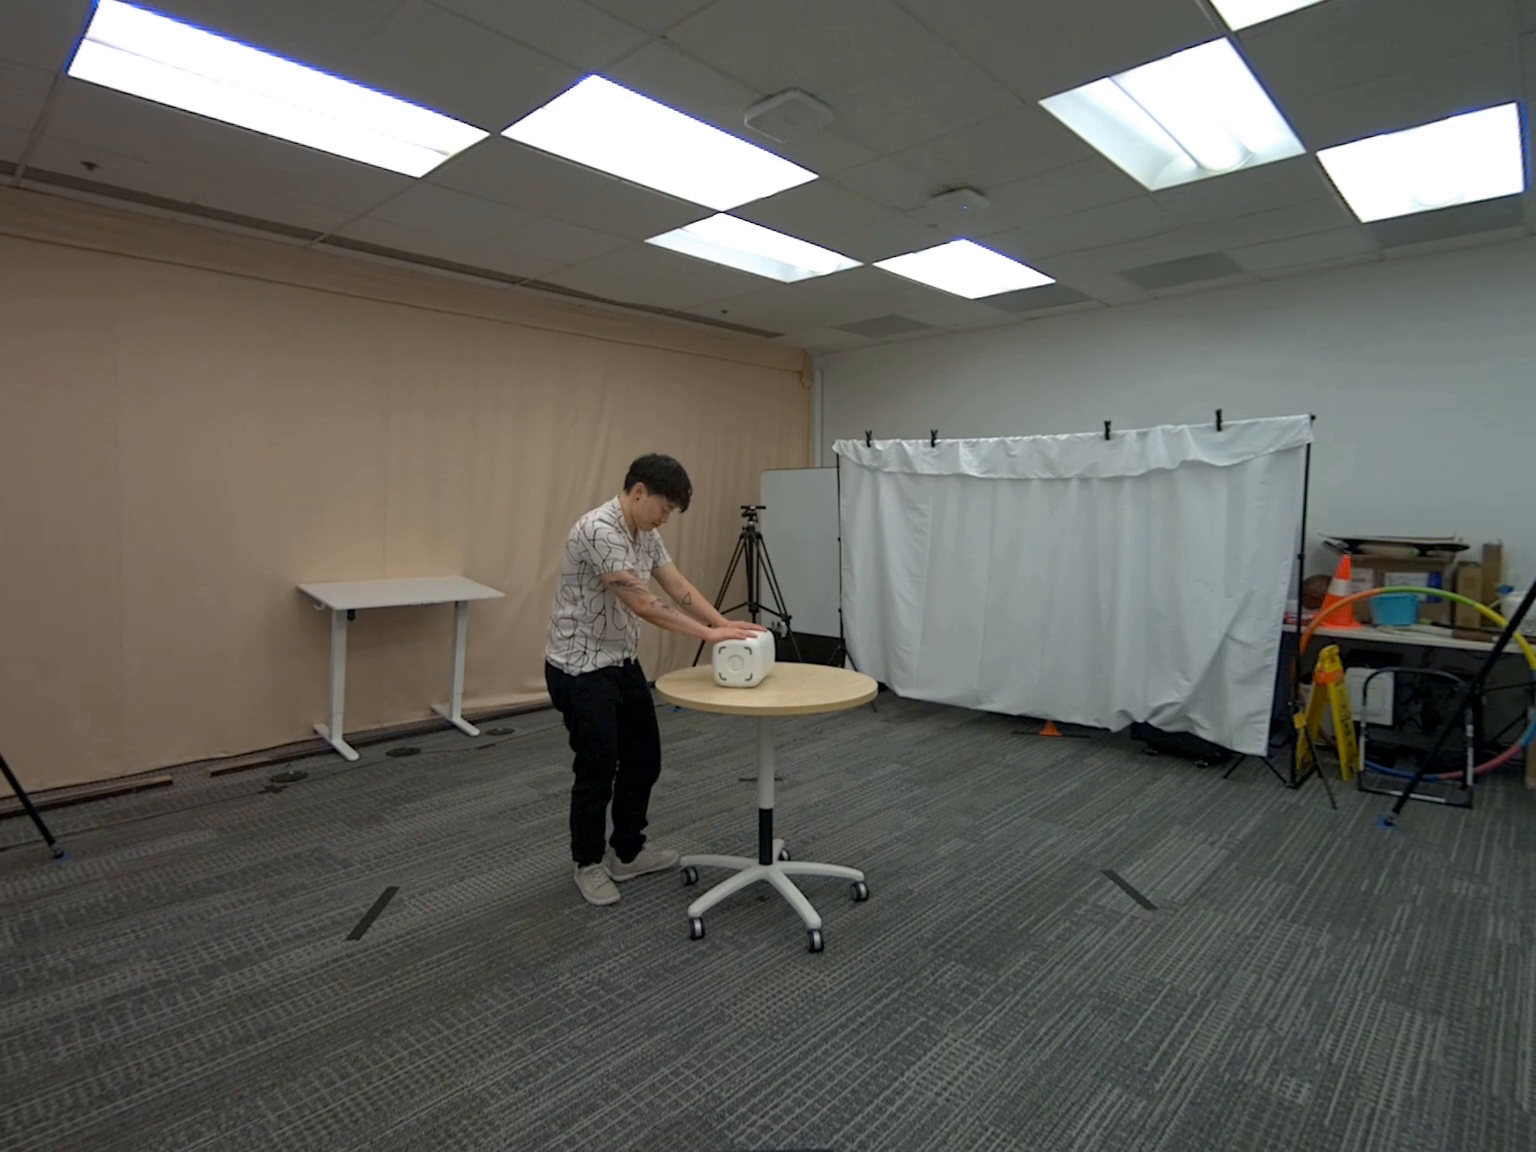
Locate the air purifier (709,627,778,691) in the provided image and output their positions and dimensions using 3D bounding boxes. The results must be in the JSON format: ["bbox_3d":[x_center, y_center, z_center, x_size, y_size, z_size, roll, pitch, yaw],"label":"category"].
[{"bbox_3d":[-0.082,0.280,2.921,0.174,0.171,0.262,-1,3,13],"label":"air purifier"}]
